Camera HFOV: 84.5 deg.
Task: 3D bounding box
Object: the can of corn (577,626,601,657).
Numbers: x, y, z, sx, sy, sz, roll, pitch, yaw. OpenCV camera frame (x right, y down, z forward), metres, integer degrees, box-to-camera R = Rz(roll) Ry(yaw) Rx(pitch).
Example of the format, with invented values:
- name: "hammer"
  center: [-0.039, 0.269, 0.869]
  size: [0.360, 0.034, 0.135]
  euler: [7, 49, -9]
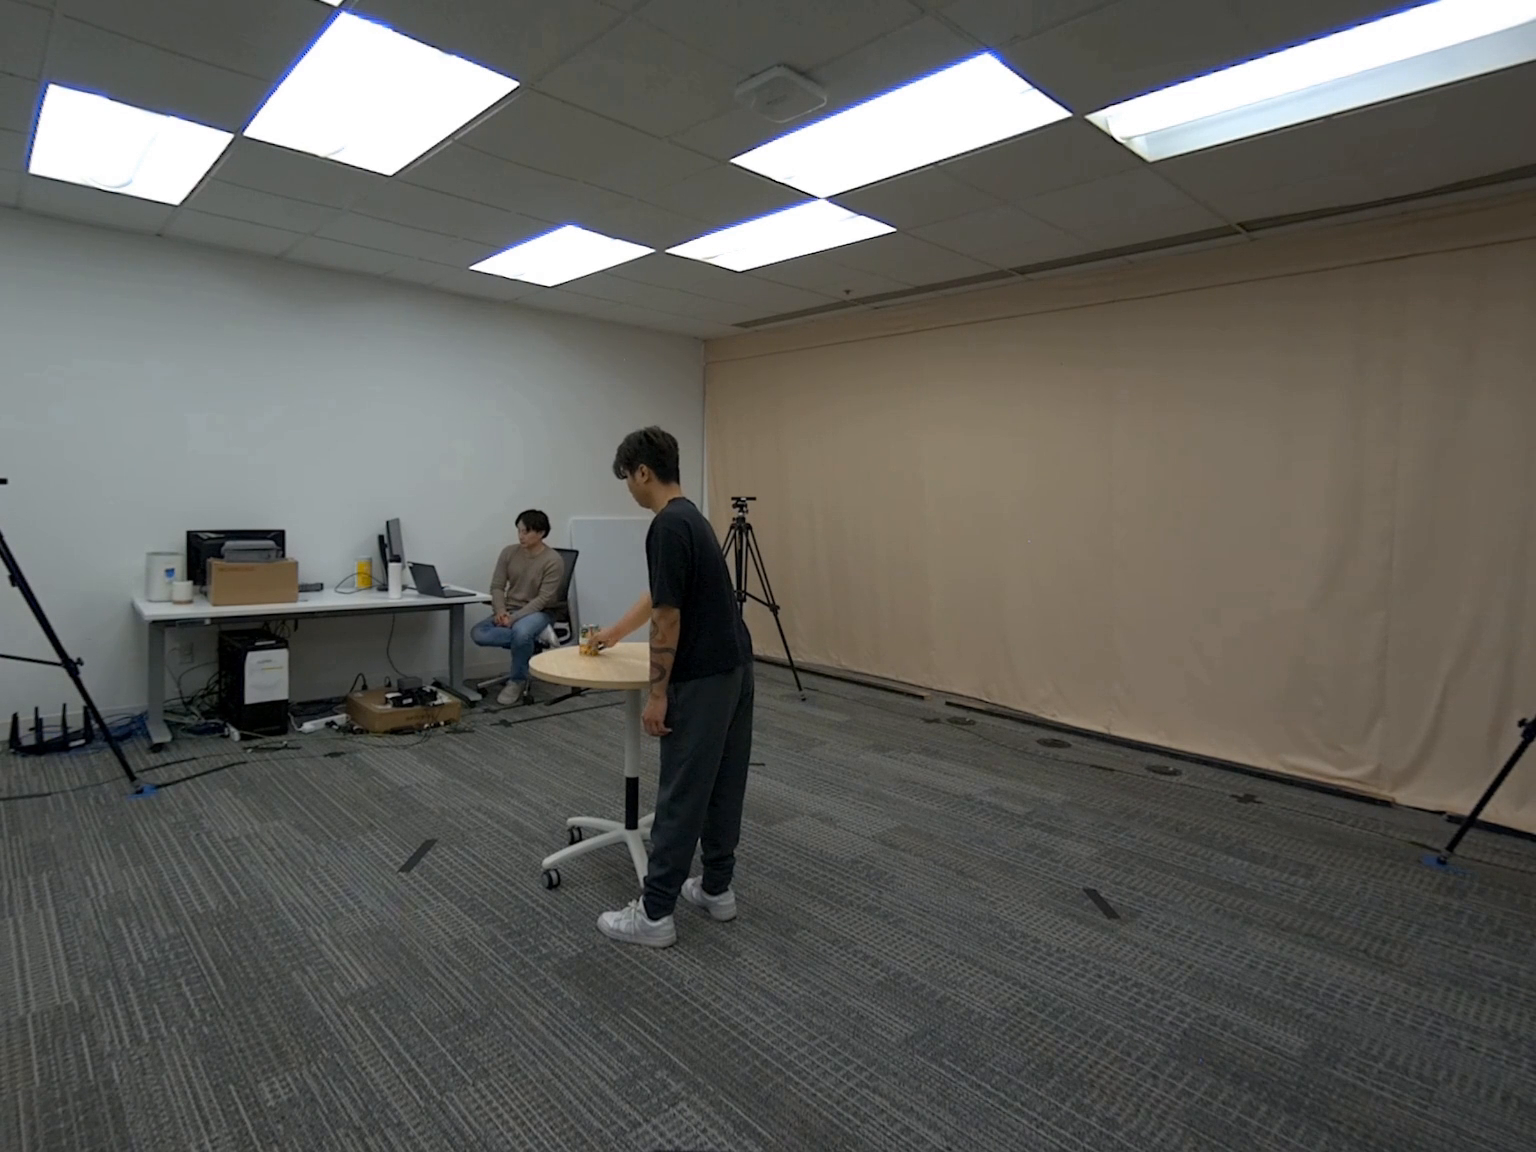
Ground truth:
- name: "can of corn"
  center: [-0.695, 0.246, 3.225]
  size: [0.074, 0.111, 0.074]
  euler: [-1, 1, -1]
